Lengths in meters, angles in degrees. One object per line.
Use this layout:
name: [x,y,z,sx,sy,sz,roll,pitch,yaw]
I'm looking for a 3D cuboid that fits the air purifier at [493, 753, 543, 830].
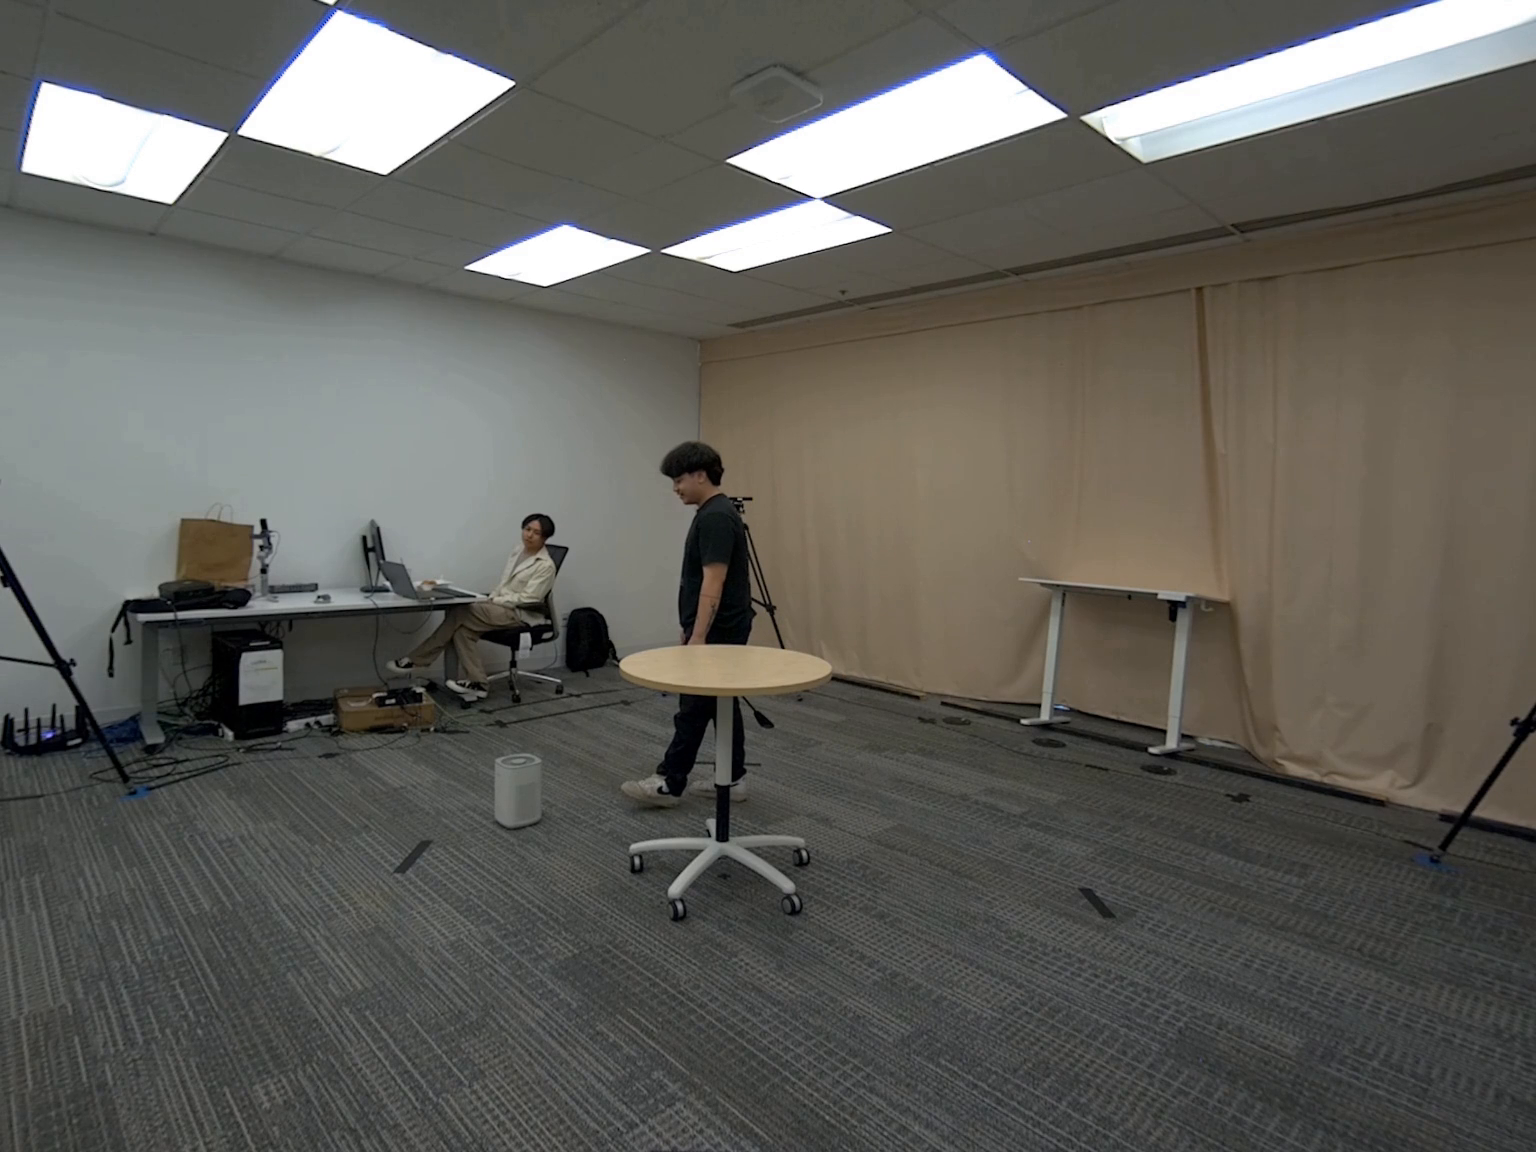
air purifier: [-1.071,0.913,3.568,0.167,0.265,0.175,-2,5,-42]
